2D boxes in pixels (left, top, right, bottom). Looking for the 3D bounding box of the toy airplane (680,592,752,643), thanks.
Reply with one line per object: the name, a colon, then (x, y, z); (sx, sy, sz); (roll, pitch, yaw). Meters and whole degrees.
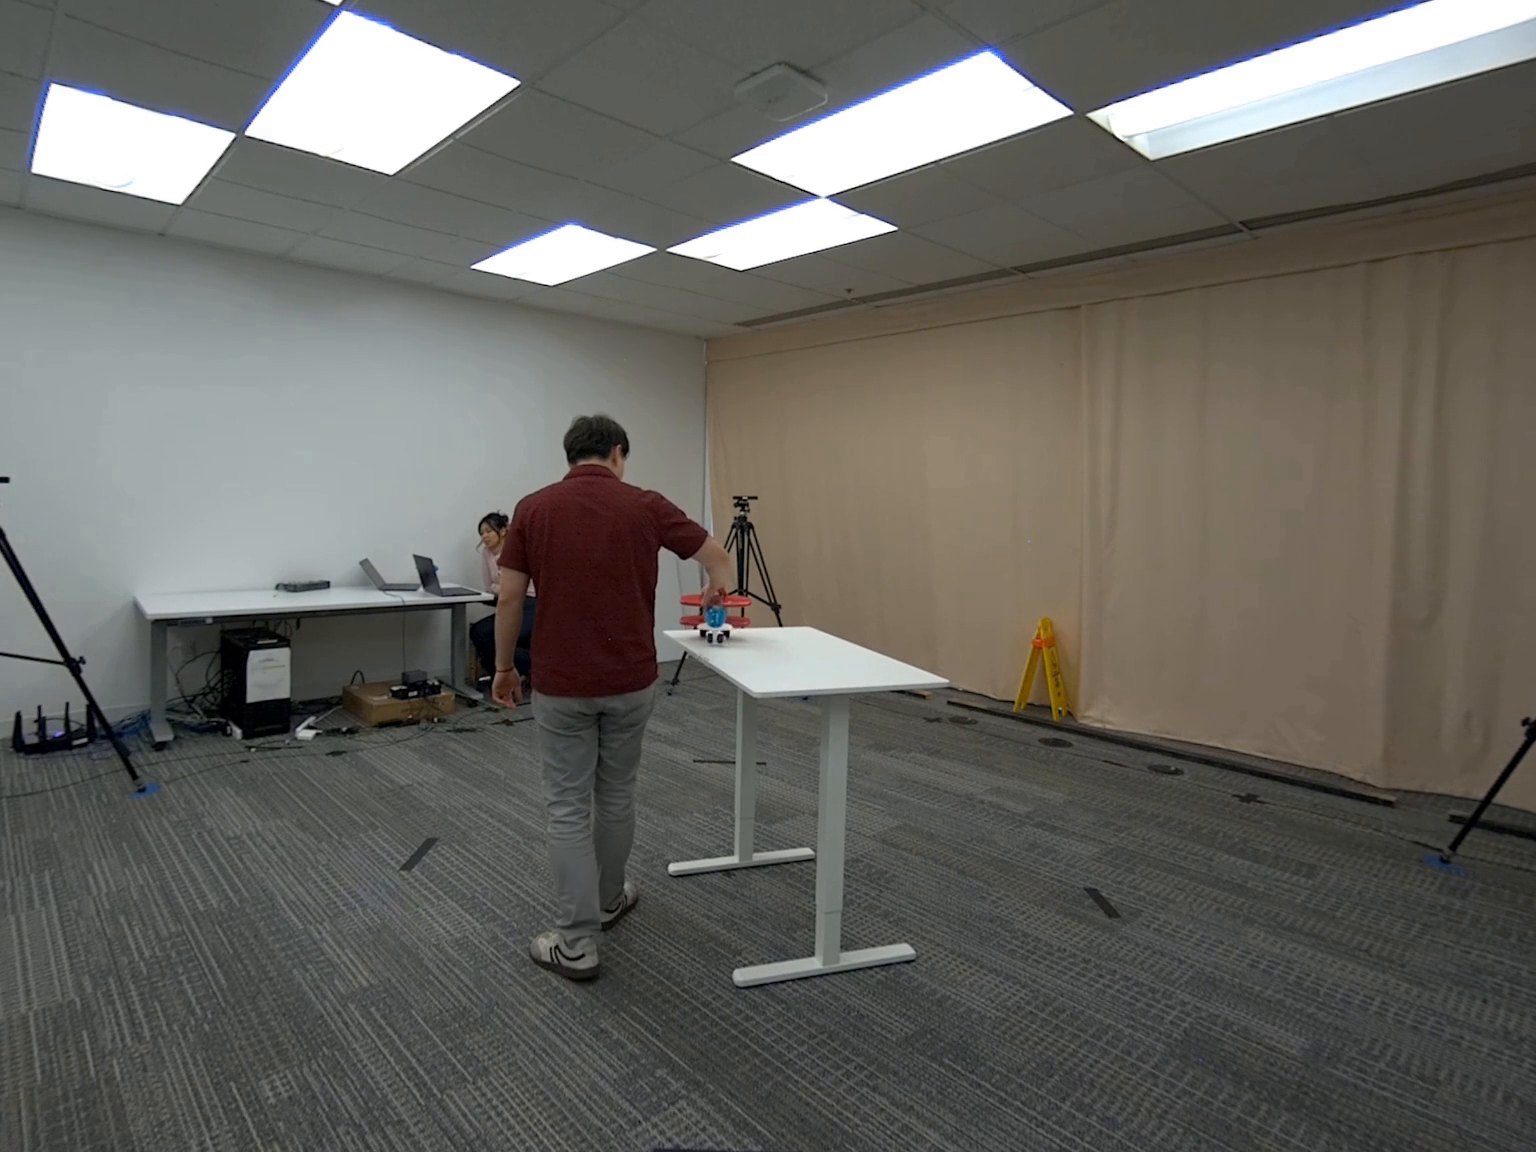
toy airplane: (-0.176, 0.151, 2.979); (0.246, 0.156, 0.264); (0, 2, -29)
